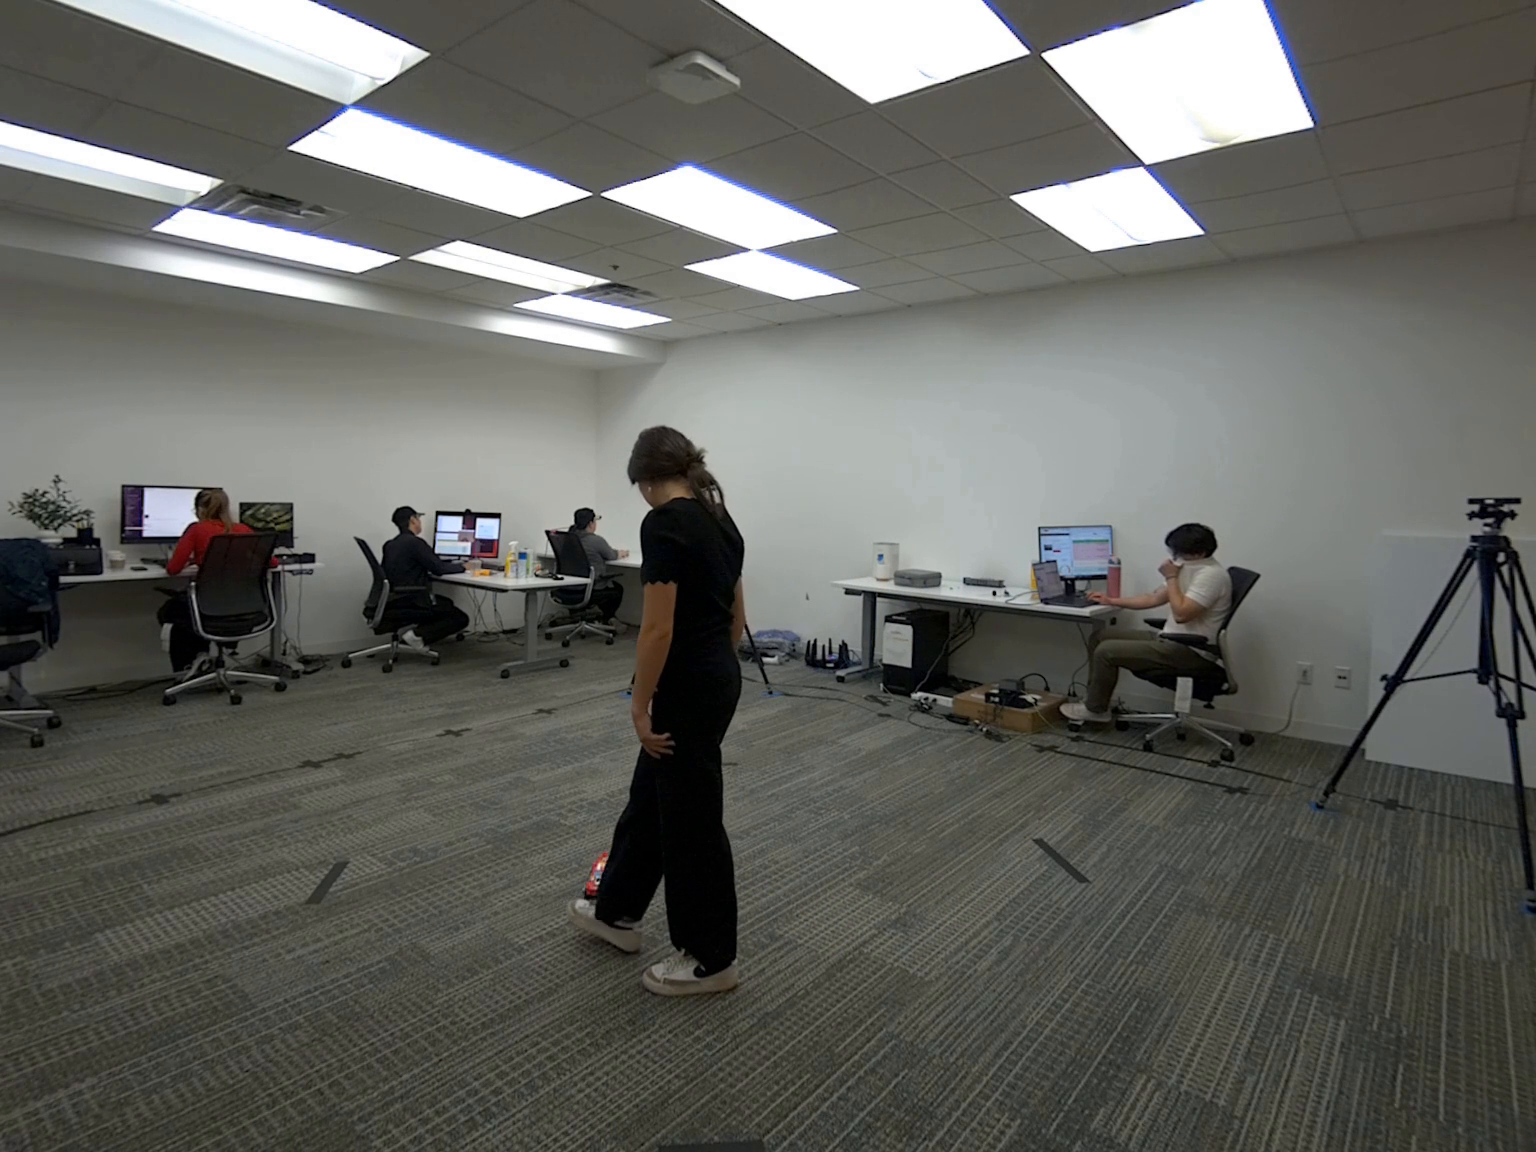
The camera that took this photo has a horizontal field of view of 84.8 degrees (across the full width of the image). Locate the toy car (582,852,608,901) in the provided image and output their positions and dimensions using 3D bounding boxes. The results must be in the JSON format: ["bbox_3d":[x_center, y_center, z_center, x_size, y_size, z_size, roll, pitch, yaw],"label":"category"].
[{"bbox_3d":[-0.574,1.042,2.962,0.130,0.082,0.258,1,17,-2],"label":"toy car"}]
